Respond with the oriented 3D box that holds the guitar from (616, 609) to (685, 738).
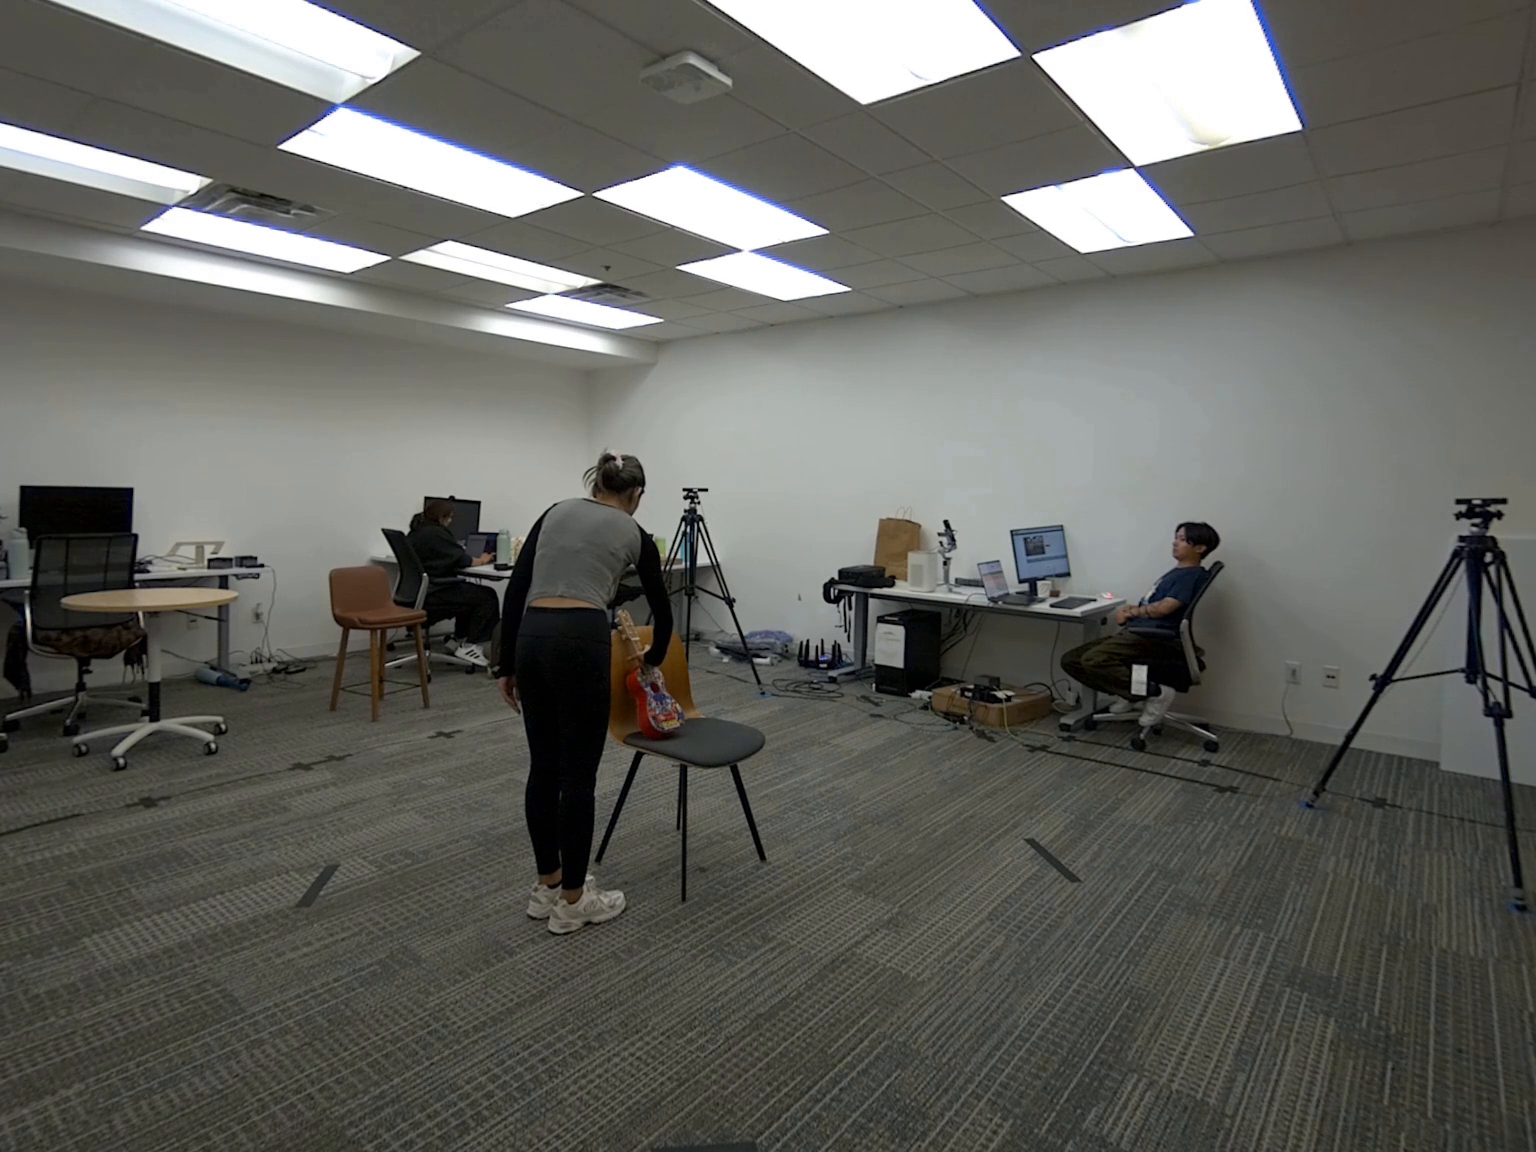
[{"bbox_3d":[-0.460,0.363,3.219,0.071,0.512,0.186,-36,-29,30],"label":"guitar"}]
